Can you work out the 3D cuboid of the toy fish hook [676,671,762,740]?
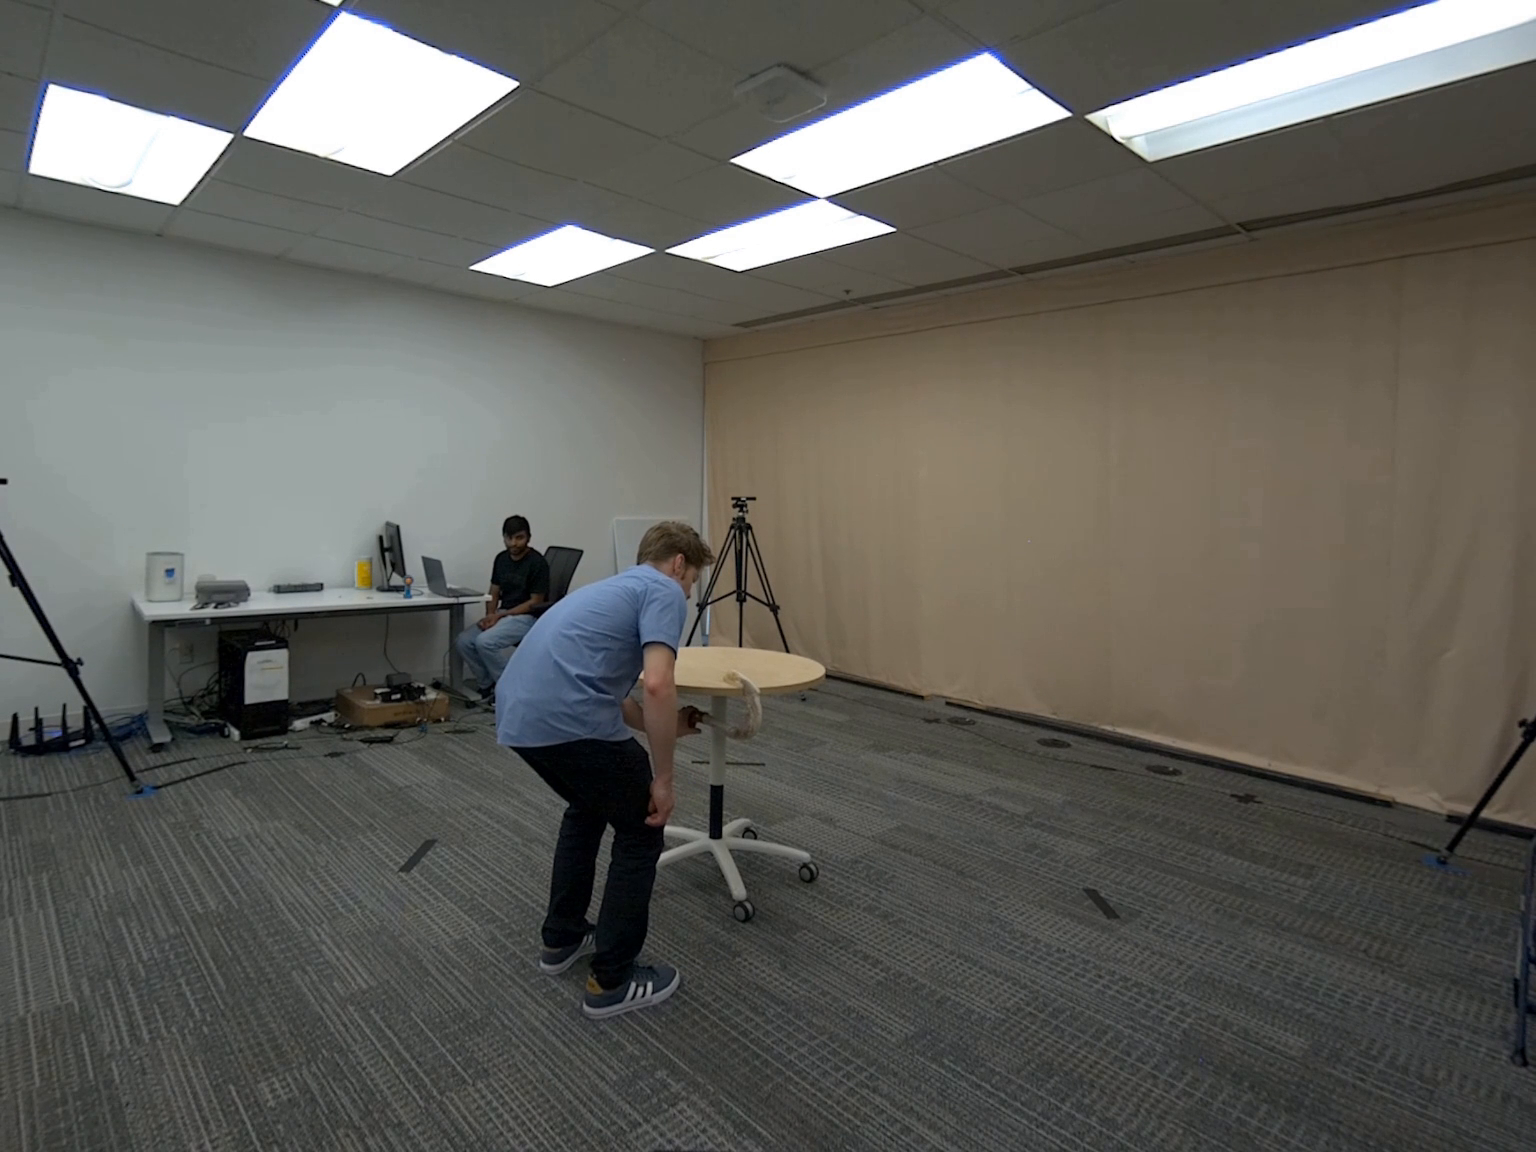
[{"bbox_3d":[-0.184,0.438,2.833,0.047,0.226,0.515,11,-12,-34],"label":"toy fish hook"}]
